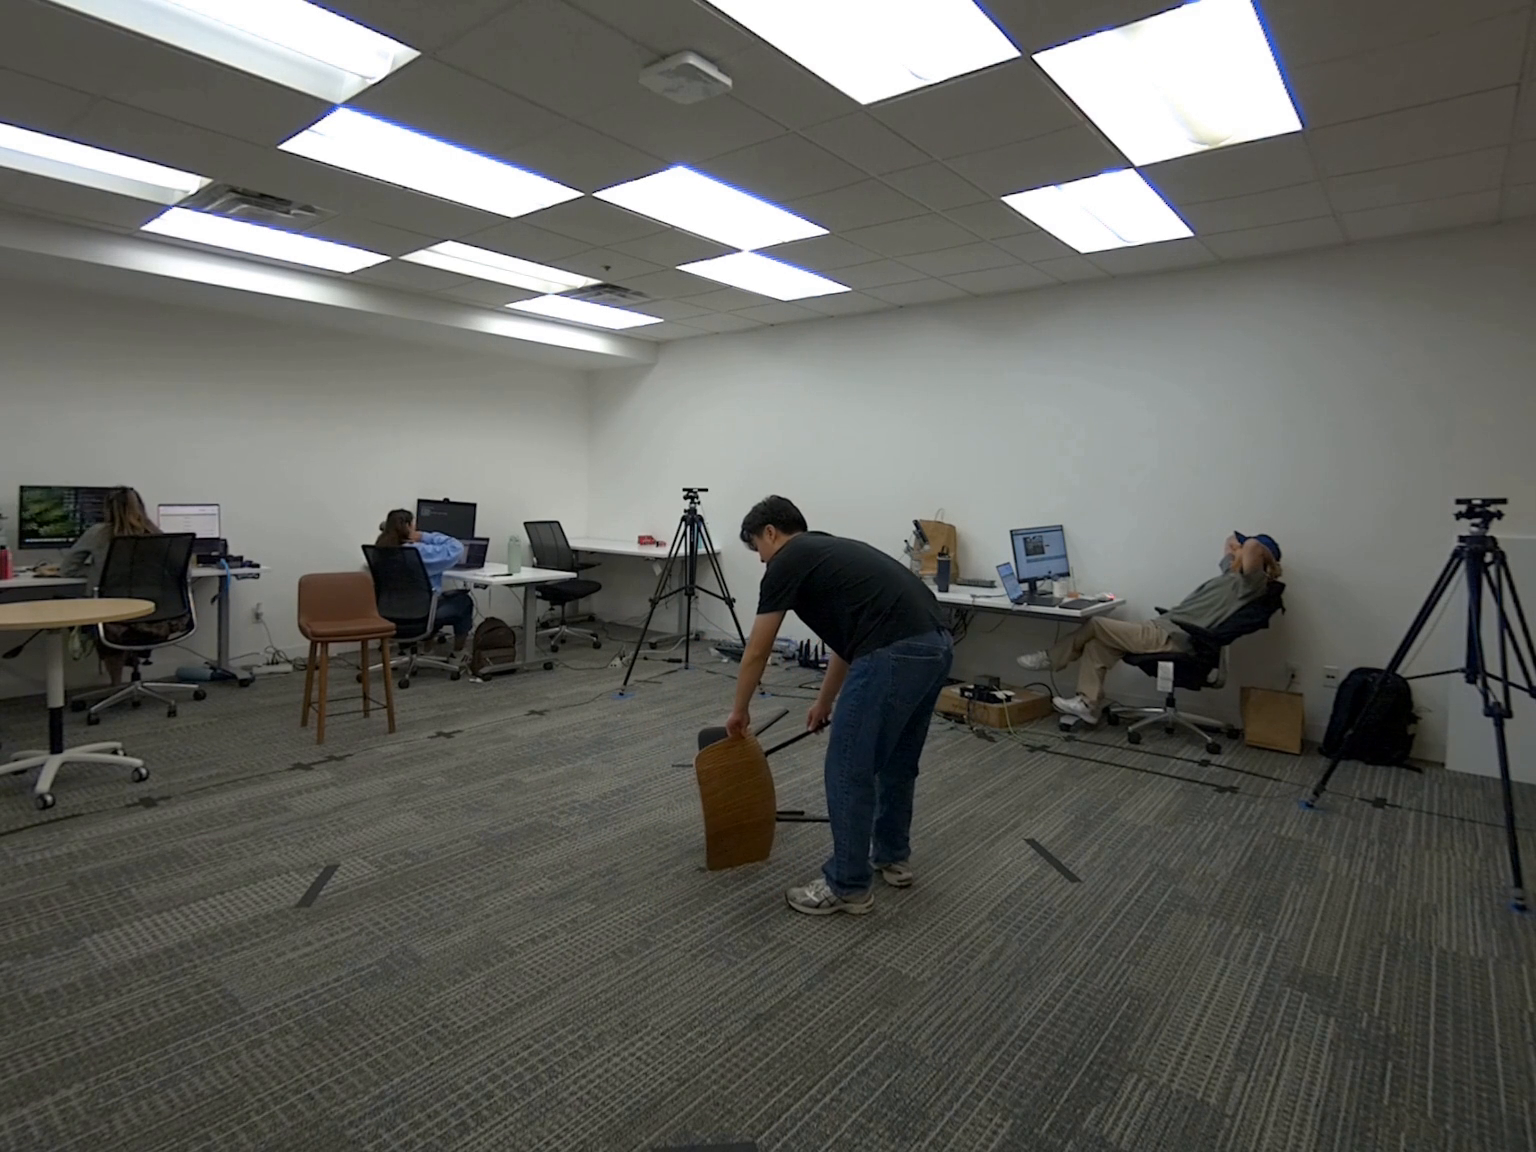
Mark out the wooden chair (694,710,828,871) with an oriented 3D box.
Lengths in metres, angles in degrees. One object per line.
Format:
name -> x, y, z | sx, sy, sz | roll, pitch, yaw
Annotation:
wooden chair -> -0.088, 0.800, 3.255 | 0.852, 0.481, 0.535 | -6, -5, -43
